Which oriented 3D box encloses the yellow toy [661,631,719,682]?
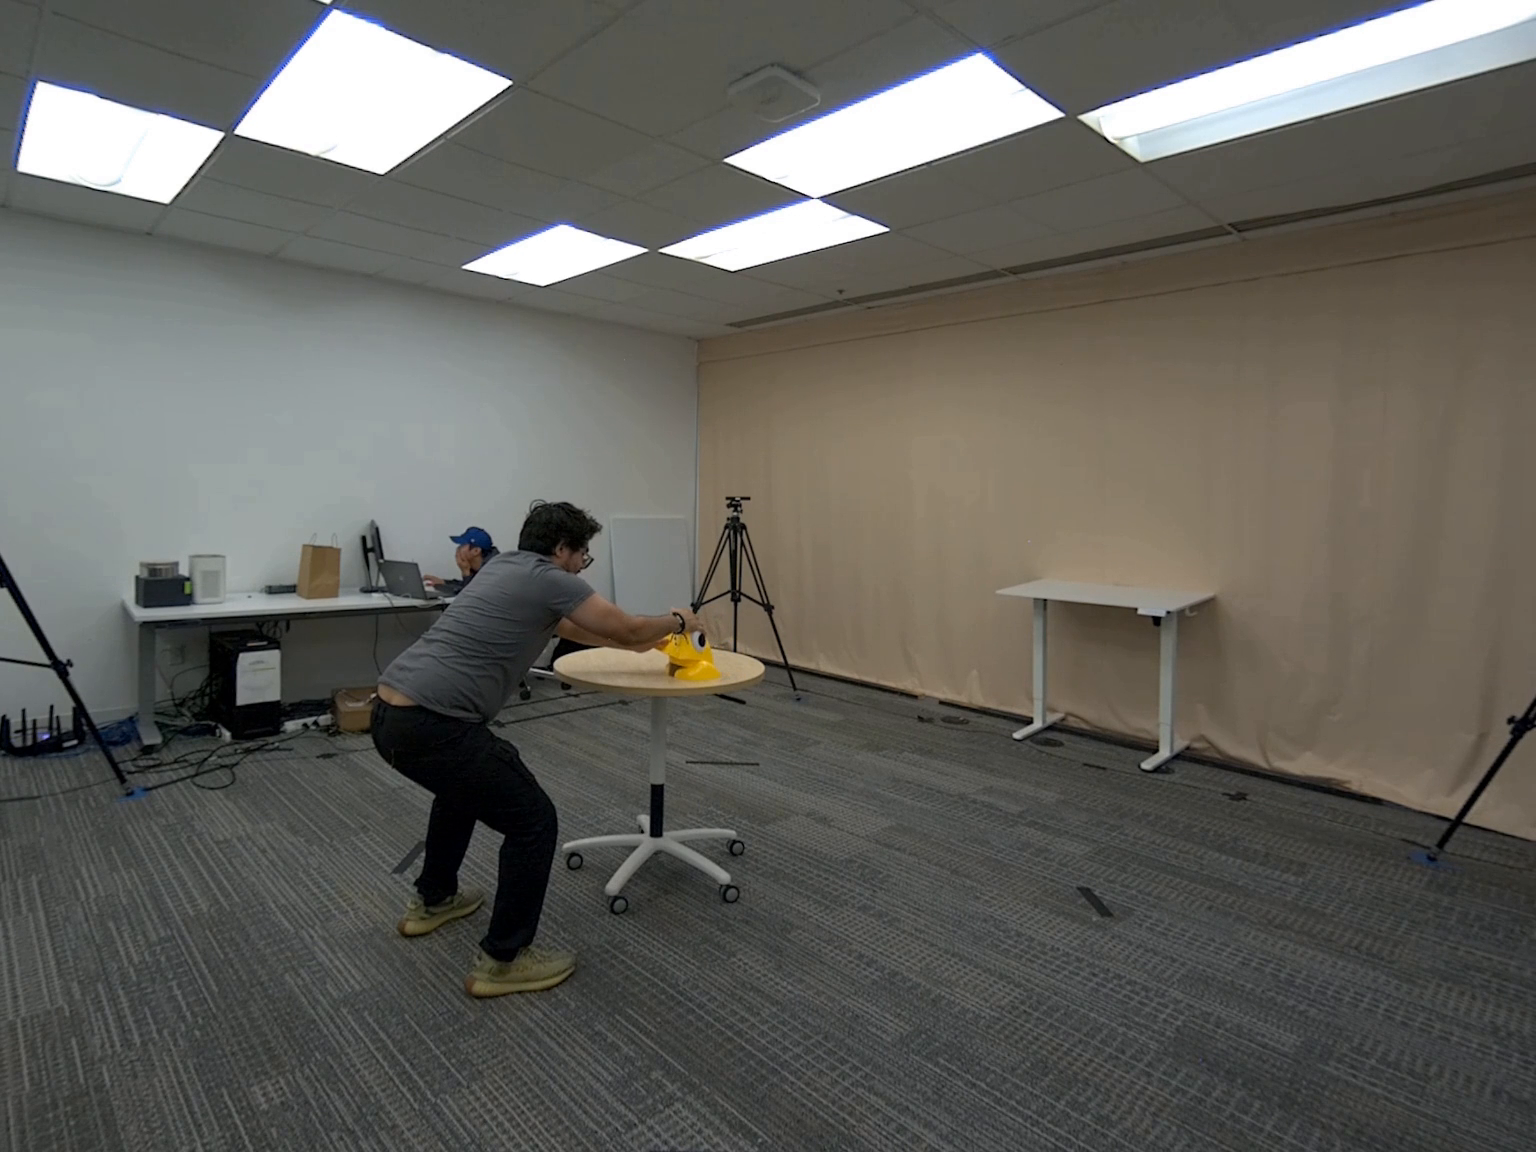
[{"bbox_3d":[-0.281,0.232,2.917,0.189,0.230,0.209,-2,6,-29],"label":"yellow toy"}]
